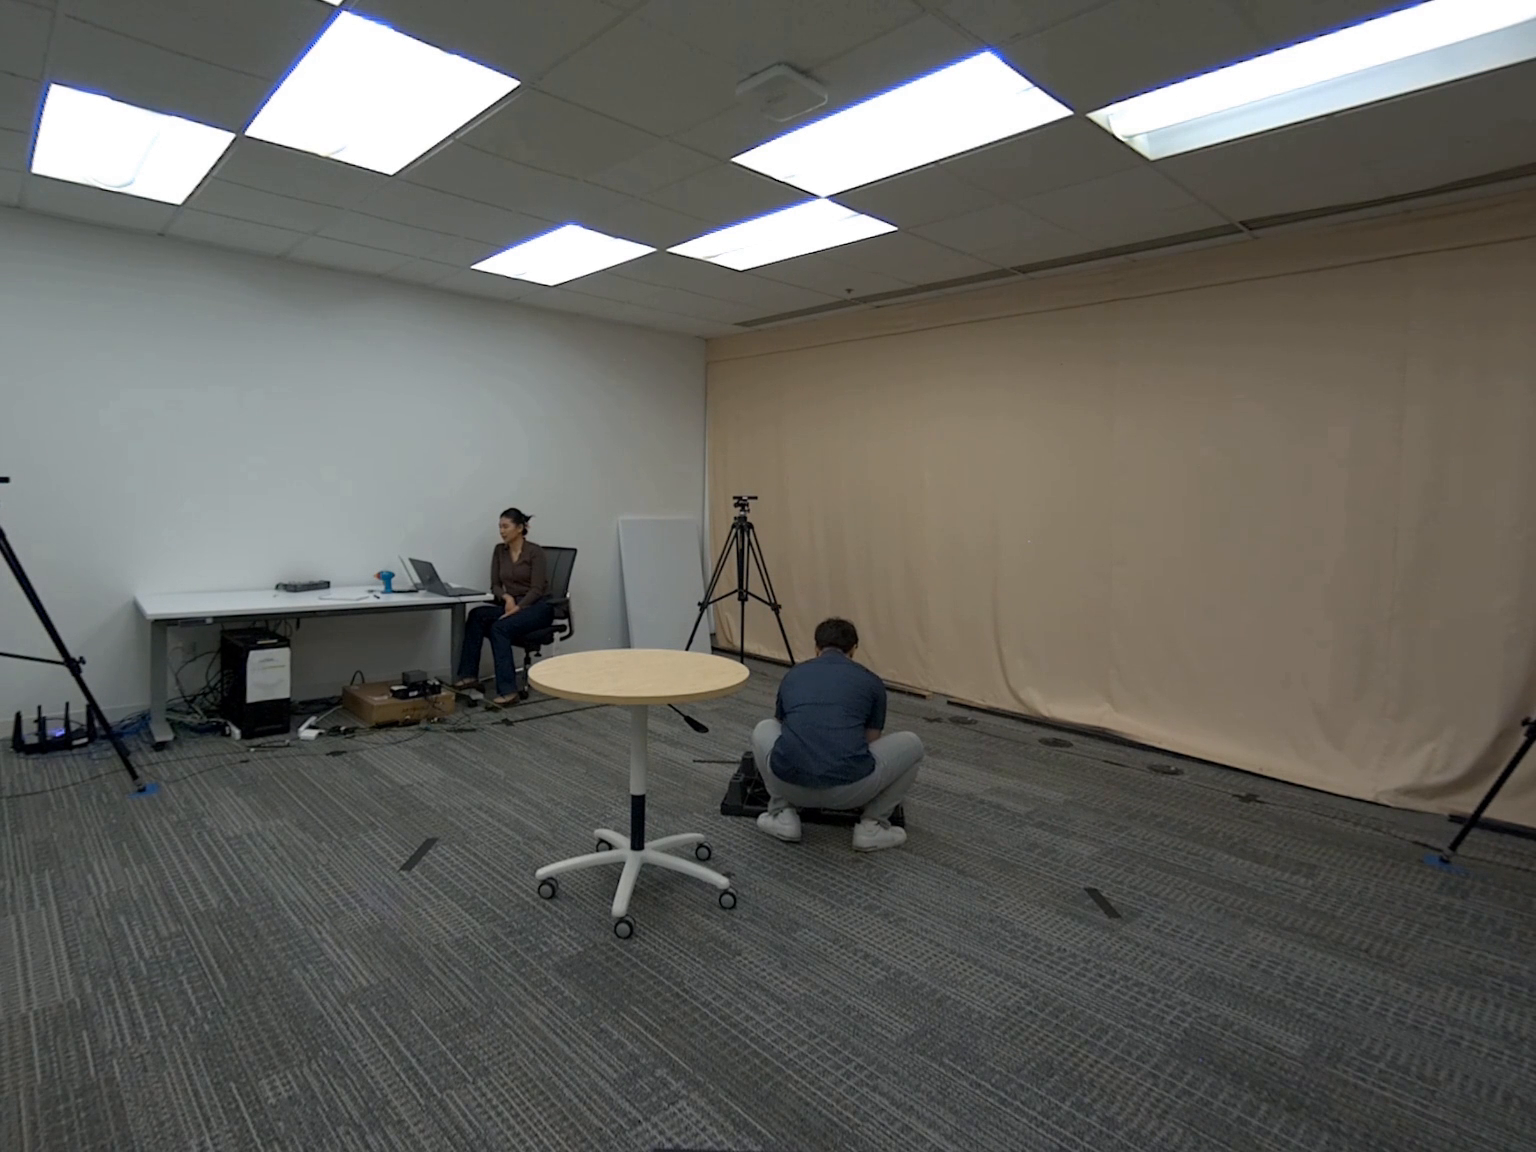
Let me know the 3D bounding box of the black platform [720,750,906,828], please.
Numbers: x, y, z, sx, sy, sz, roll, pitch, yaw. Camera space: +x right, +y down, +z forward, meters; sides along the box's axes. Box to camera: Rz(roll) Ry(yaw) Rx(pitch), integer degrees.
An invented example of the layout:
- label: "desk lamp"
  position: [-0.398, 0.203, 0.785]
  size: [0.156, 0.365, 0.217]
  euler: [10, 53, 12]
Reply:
- label: "black platform"
  position: [0.215, 0.970, 3.928]
  size: [0.811, 0.143, 0.603]
  euler: [2, 6, 8]
